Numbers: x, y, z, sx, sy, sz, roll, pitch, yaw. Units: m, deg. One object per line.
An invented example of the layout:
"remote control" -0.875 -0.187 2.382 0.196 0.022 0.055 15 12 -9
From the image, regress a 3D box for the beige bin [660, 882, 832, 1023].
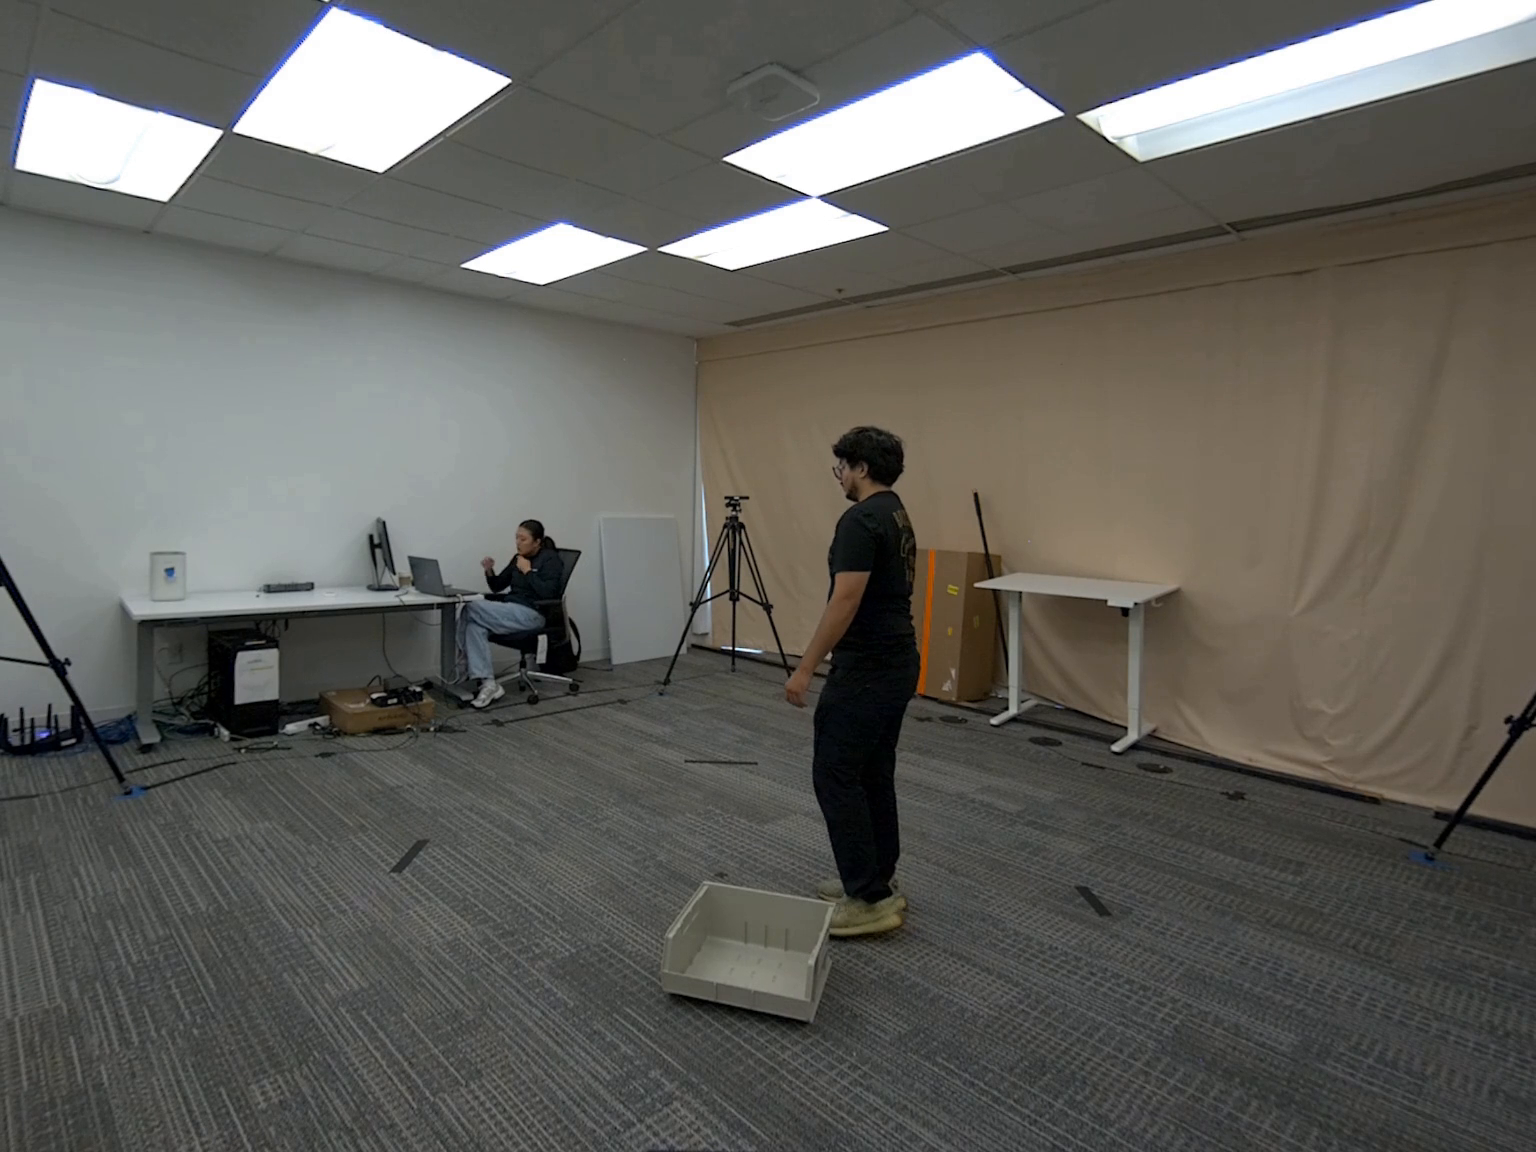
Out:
"beige bin" -0.049 1.088 2.409 0.428 0.188 0.373 2 4 15
